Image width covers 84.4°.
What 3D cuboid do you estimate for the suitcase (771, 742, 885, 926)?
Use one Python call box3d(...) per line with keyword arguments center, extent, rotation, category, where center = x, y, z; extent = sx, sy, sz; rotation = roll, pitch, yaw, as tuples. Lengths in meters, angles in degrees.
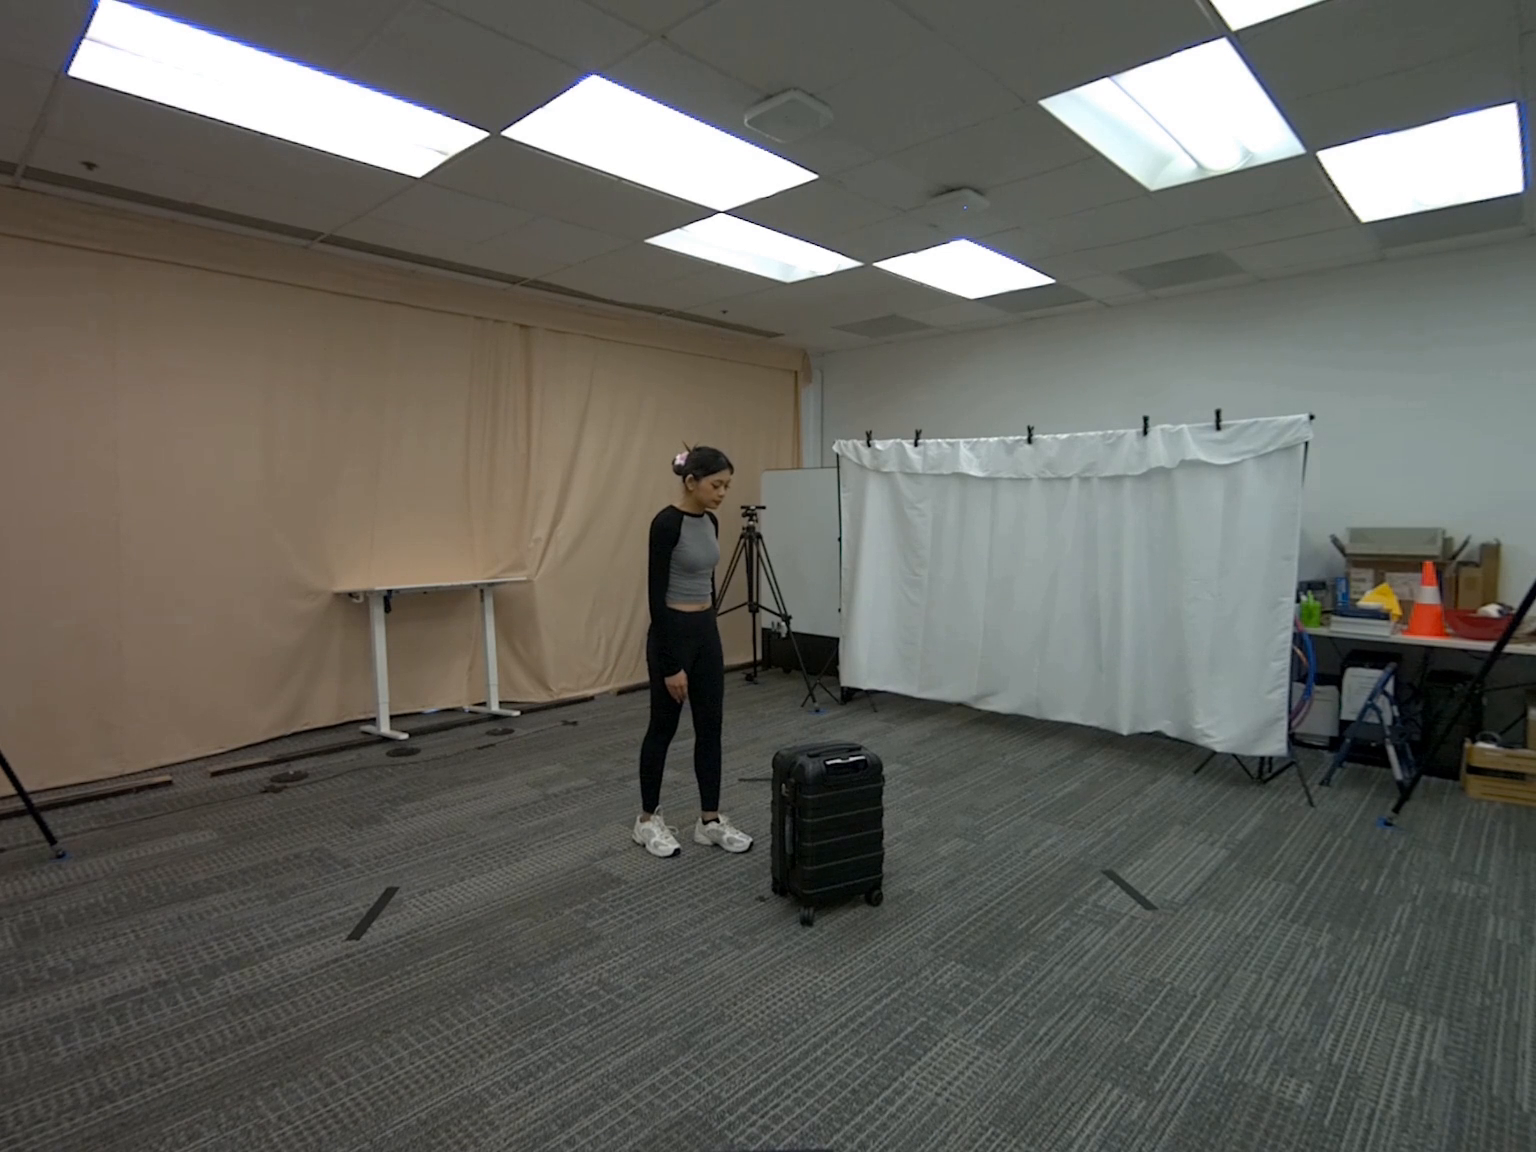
box3d(center=(0.207, 0.866, 2.964), extent=(0.366, 0.548, 0.255), rotation=(-3, 3, -27), category="suitcase")
